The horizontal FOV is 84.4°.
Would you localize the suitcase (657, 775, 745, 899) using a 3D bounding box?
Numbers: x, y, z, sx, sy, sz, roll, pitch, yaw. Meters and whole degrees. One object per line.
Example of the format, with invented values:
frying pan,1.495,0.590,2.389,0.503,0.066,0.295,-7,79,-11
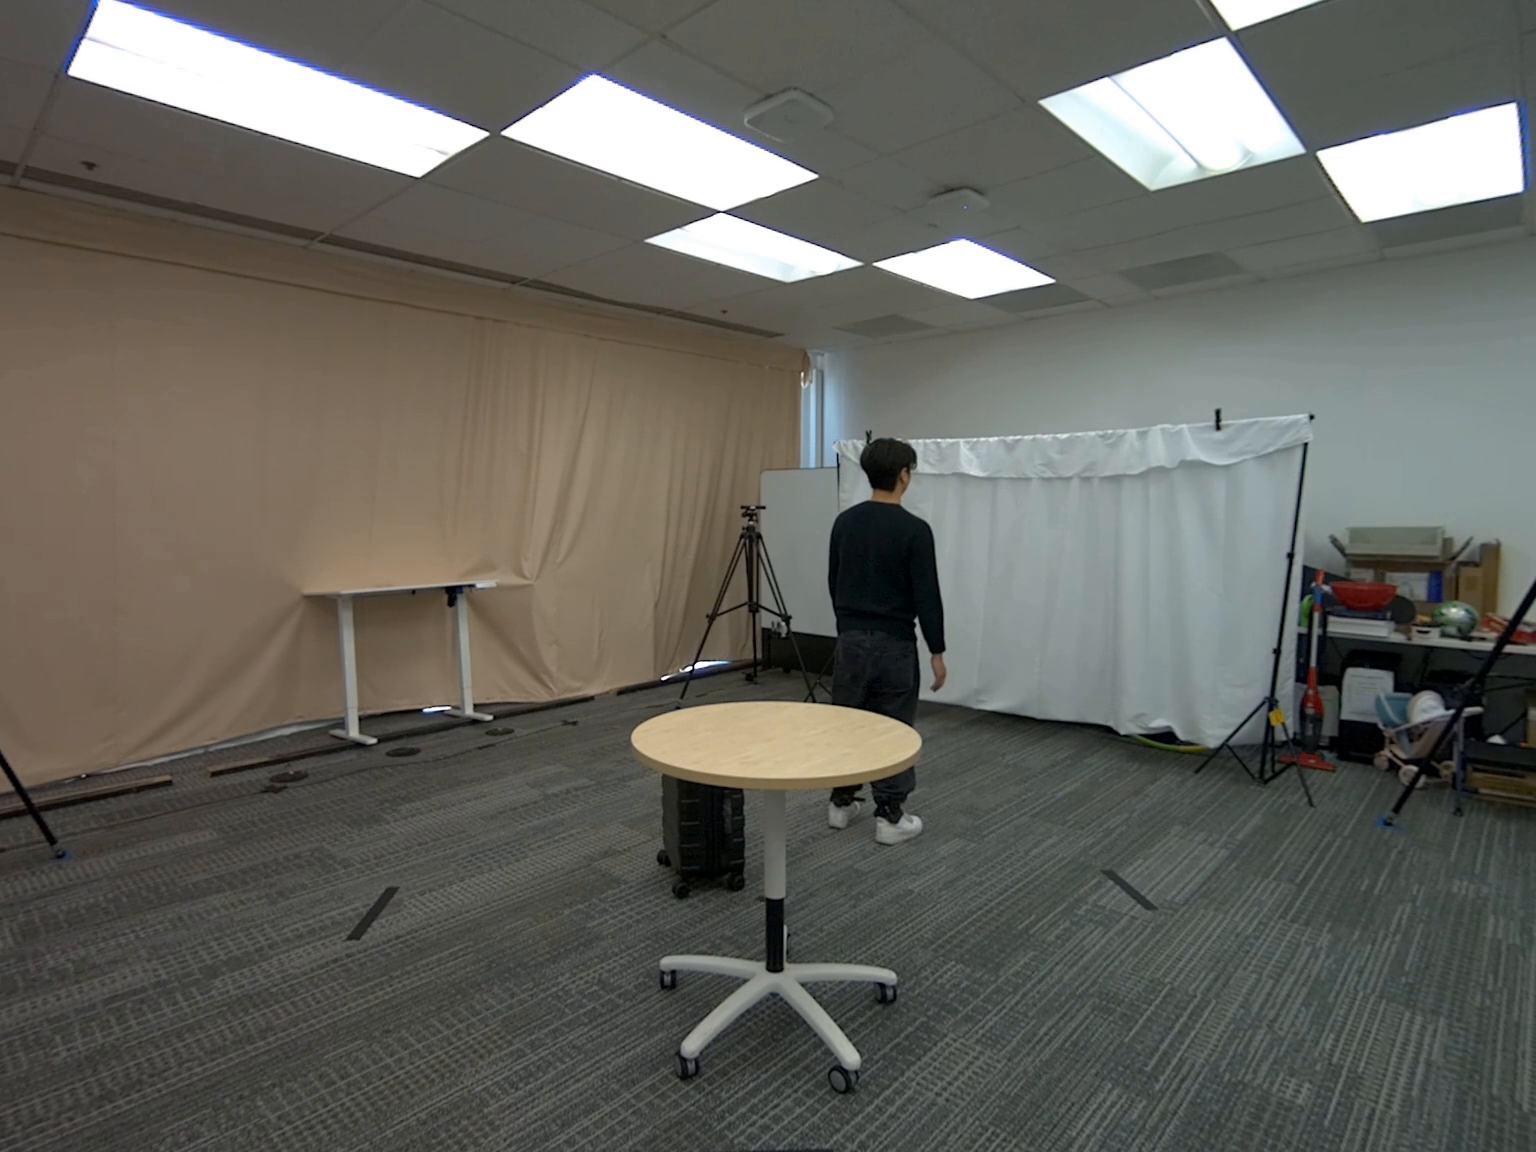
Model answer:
suitcase,-0.243,0.850,3.166,0.244,0.548,0.383,-1,3,-19
